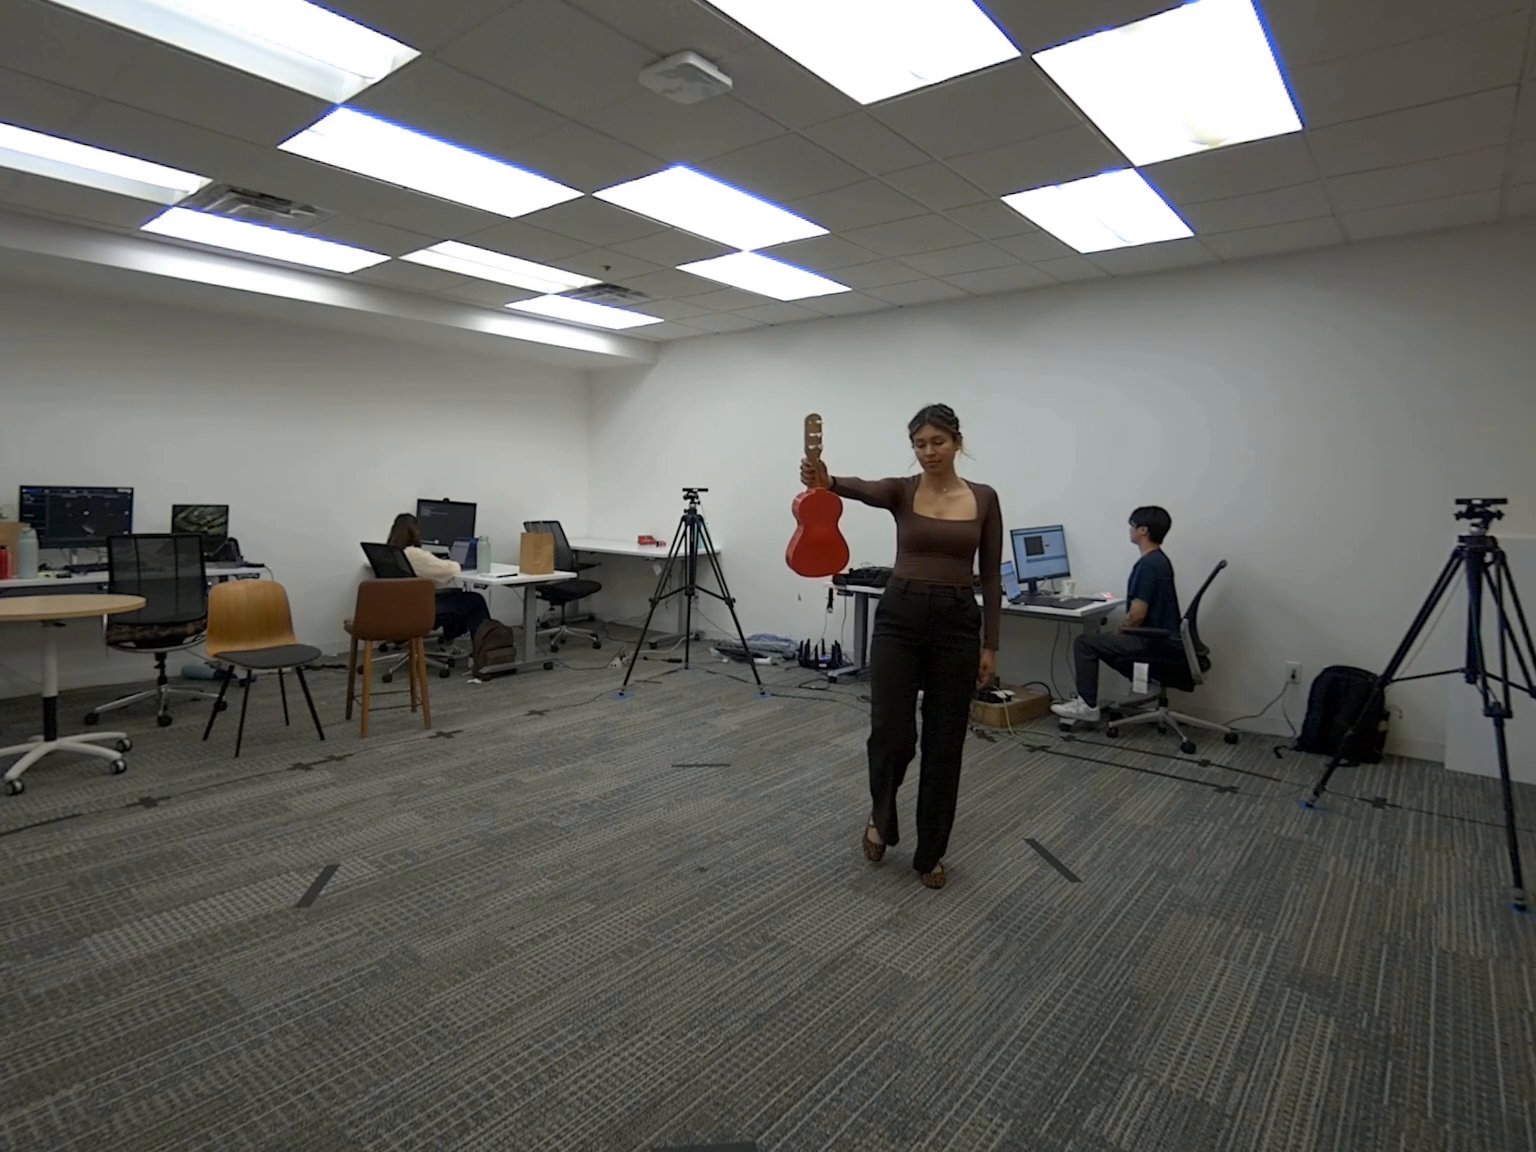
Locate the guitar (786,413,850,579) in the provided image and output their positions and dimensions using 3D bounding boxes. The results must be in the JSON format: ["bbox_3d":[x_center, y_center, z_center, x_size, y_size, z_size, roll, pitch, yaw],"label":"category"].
[{"bbox_3d":[0.115,-0.240,2.612,0.191,0.490,0.072,-13,15,-12],"label":"guitar"}]
